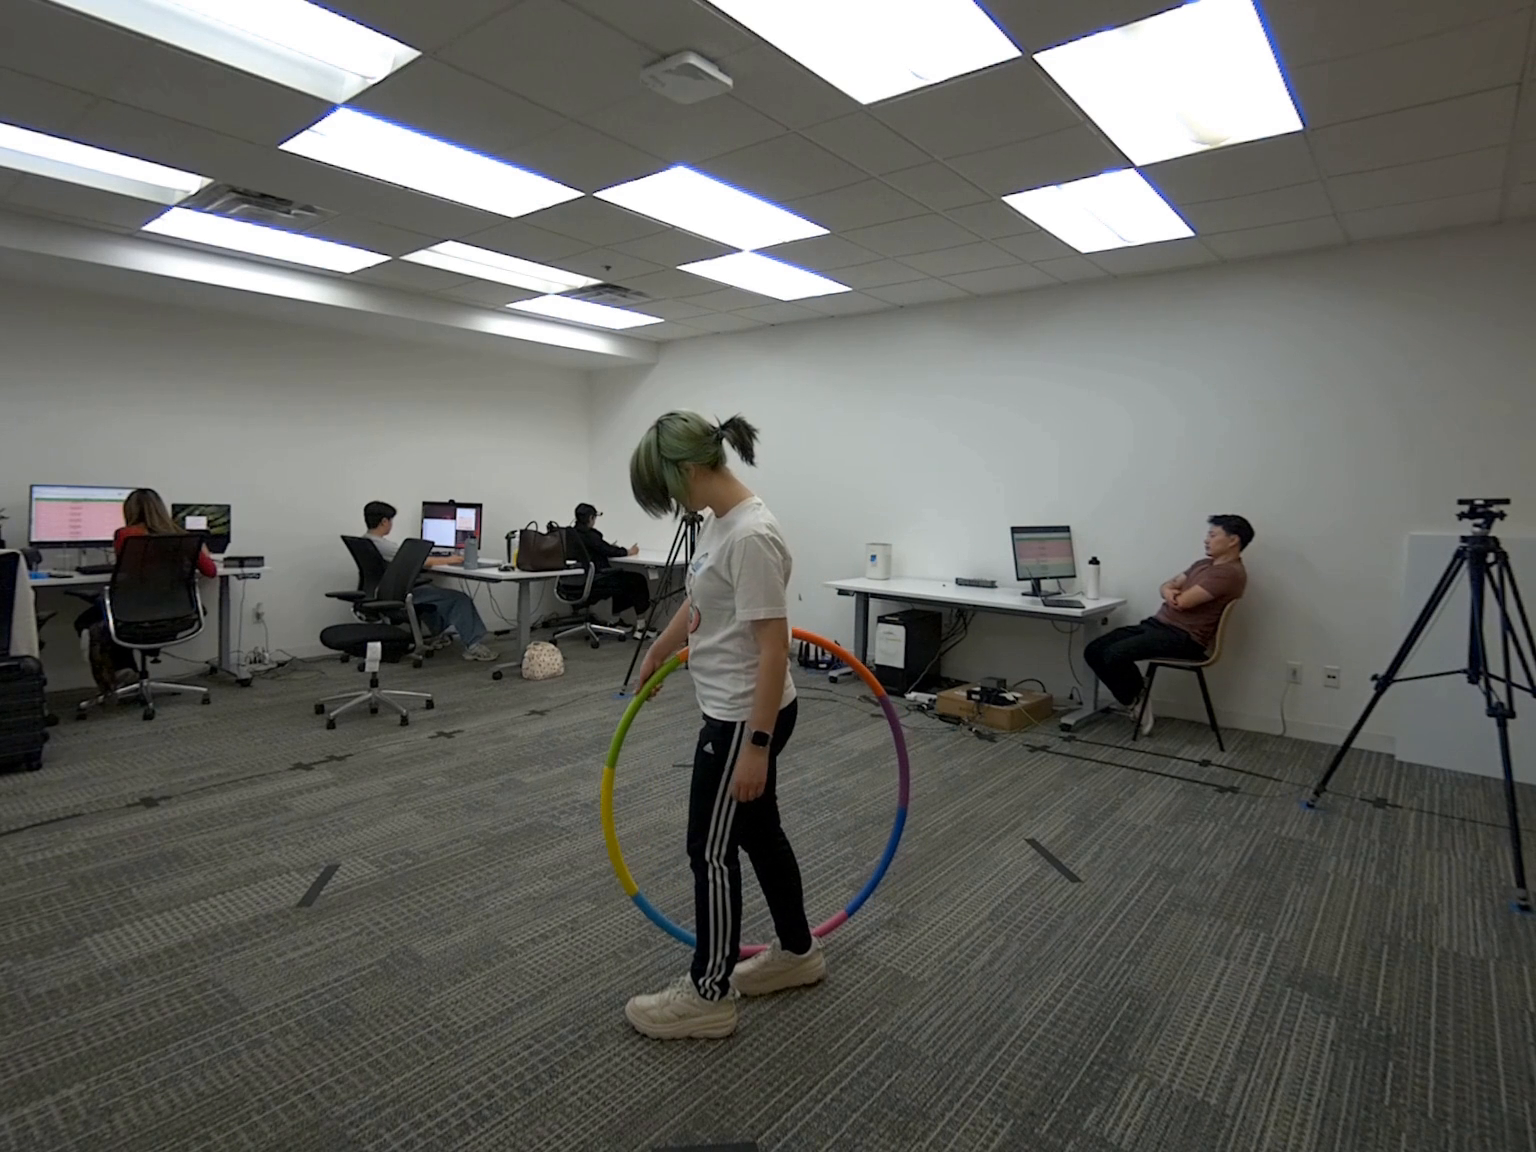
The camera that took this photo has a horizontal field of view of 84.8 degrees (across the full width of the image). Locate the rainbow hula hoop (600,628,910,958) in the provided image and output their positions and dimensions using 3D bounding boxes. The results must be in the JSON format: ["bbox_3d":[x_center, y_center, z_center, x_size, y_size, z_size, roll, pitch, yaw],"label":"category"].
[{"bbox_3d":[-0.017,0.641,2.589,0.962,0.984,0.036,-1,-6,-16],"label":"rainbow hula hoop"}]
